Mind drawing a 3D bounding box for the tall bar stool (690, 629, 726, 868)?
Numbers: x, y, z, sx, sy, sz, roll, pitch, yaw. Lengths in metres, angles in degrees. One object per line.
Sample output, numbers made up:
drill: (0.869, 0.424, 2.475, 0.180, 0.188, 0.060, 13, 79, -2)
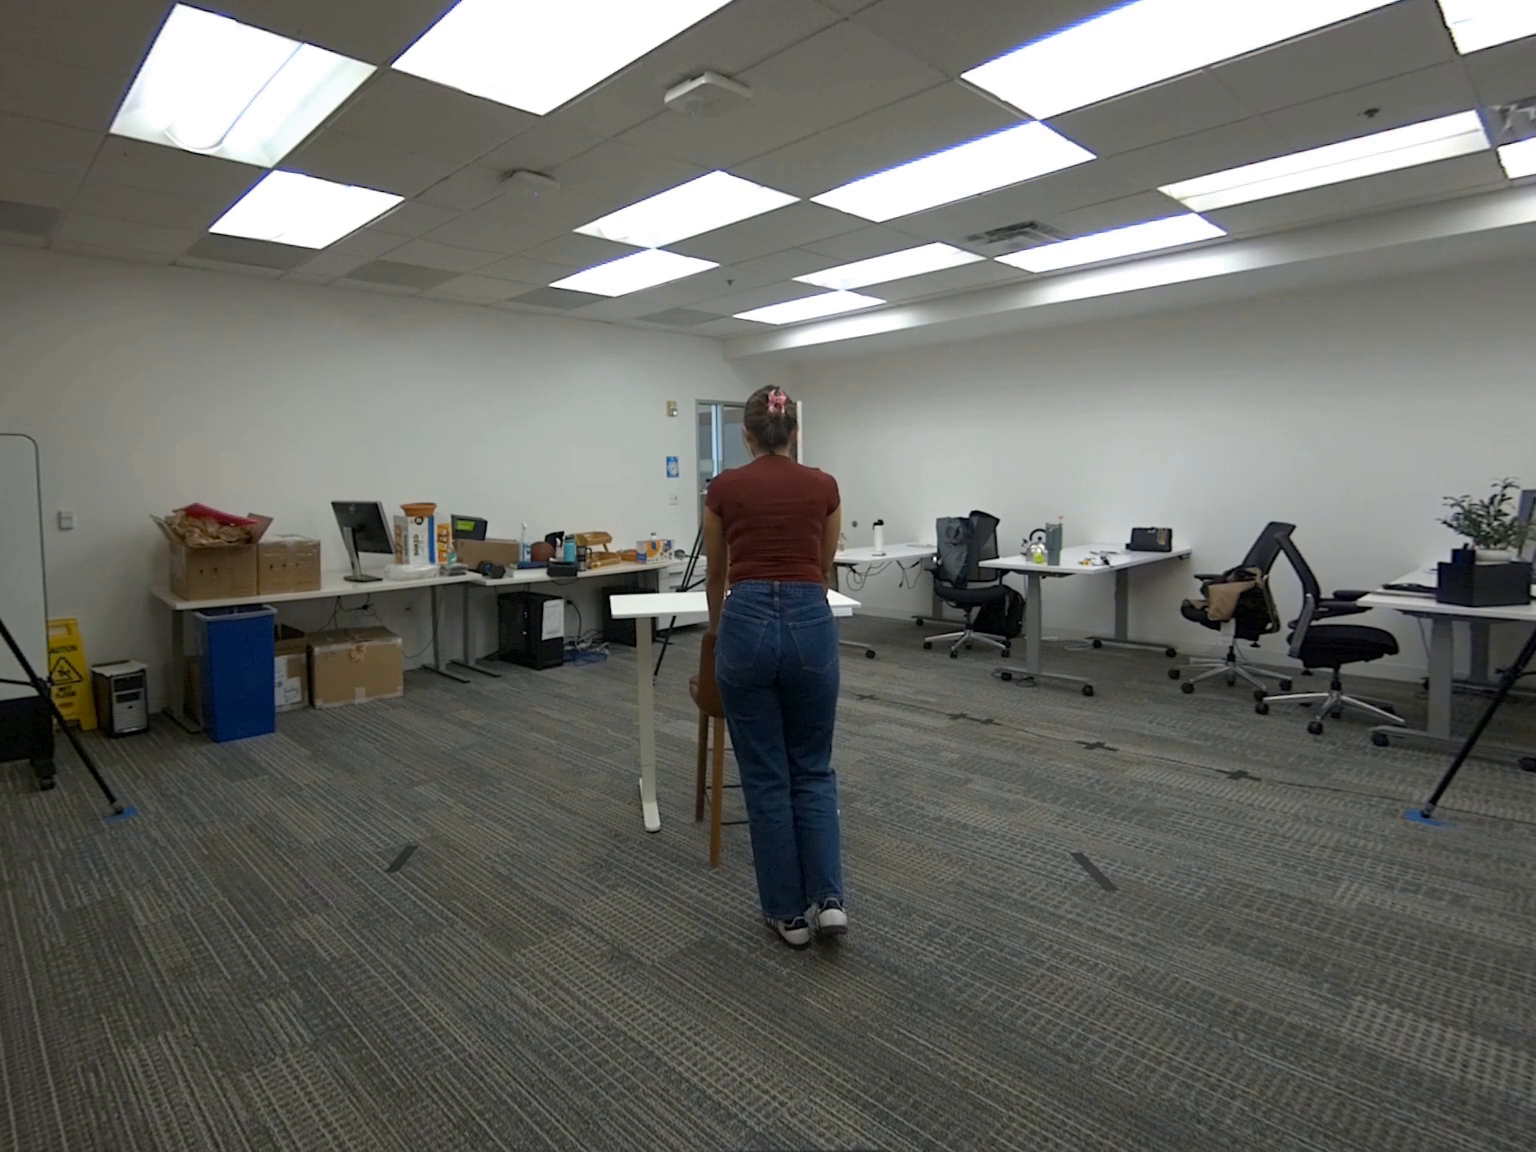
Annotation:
tall bar stool: (-0.063, 0.586, 3.281, 0.453, 0.885, 0.474, -1, 6, -9)
